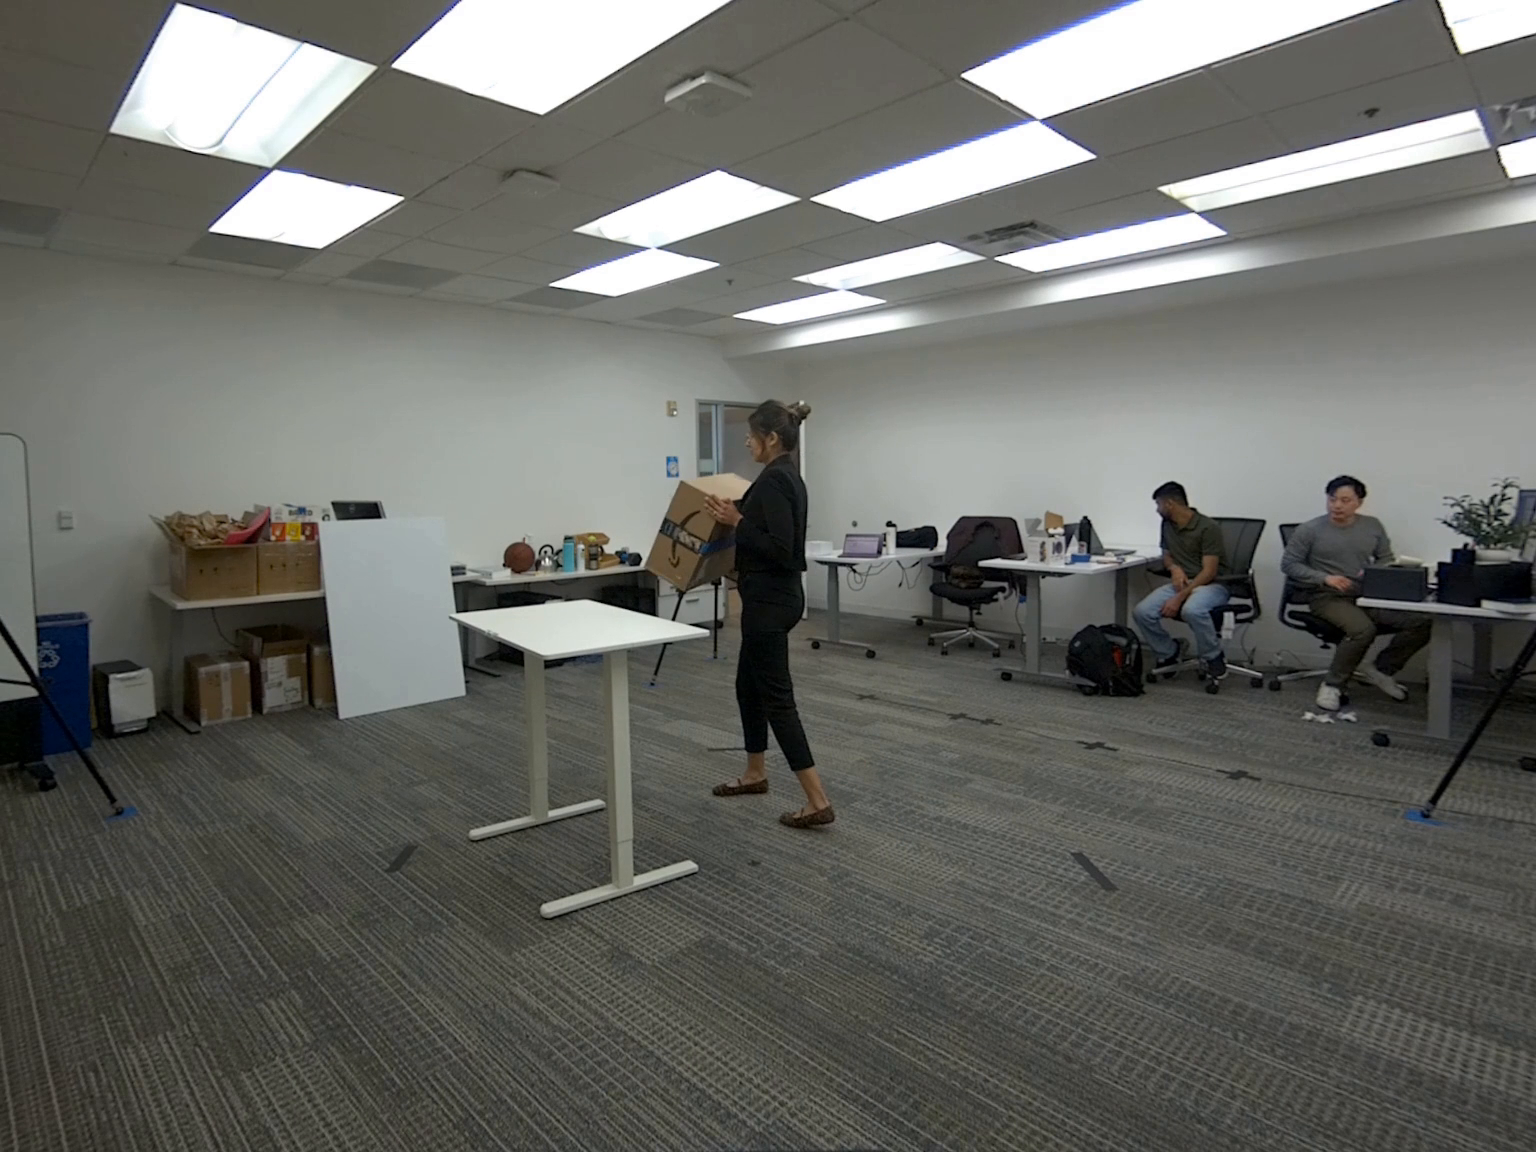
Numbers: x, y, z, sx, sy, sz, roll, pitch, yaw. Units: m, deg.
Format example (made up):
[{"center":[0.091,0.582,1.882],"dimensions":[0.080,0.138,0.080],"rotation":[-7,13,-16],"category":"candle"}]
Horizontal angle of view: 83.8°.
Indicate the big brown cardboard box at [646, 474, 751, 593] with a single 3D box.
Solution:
[{"center":[-0.248,-0.206,3.743],"dimensions":[0.238,0.414,0.582],"rotation":[28,18,14],"category":"big brown cardboard box"}]
